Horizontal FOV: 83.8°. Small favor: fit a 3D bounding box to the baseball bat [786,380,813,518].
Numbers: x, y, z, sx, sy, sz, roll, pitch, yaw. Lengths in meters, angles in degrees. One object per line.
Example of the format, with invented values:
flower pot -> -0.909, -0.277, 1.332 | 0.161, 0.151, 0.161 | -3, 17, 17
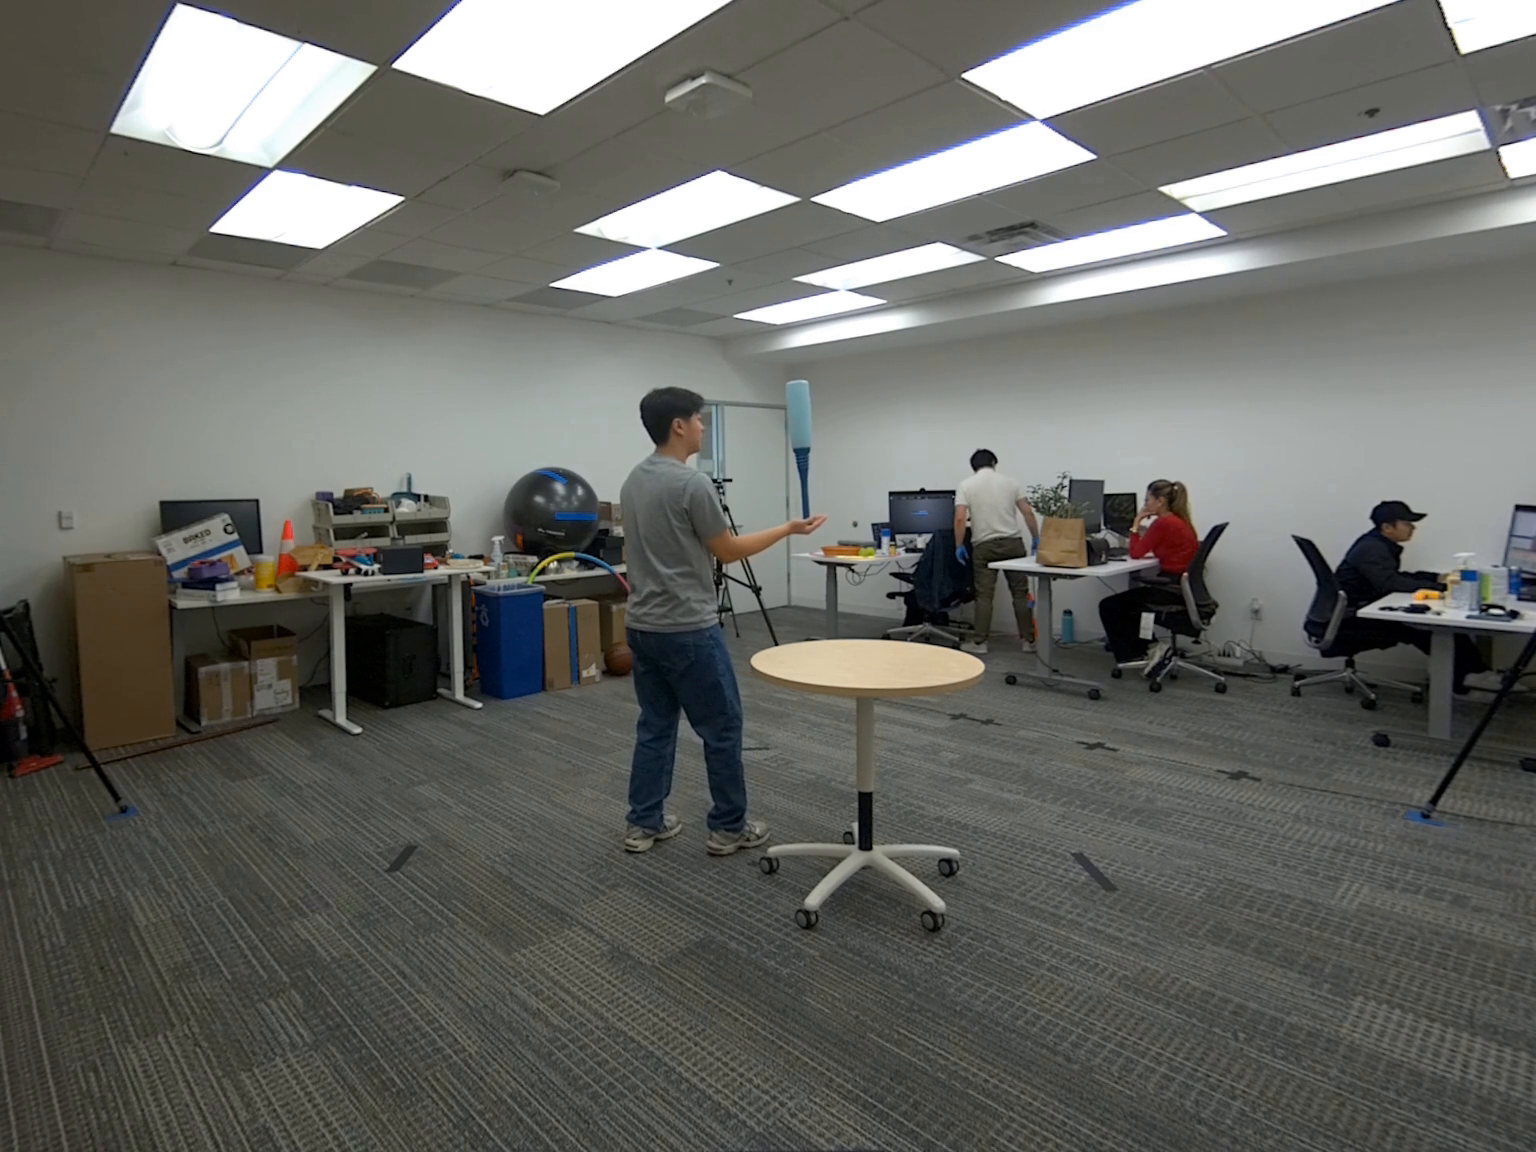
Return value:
baseball bat -> 0.124, -0.453, 3.195 | 0.089, 0.543, 0.089 | -4, 0, -2
